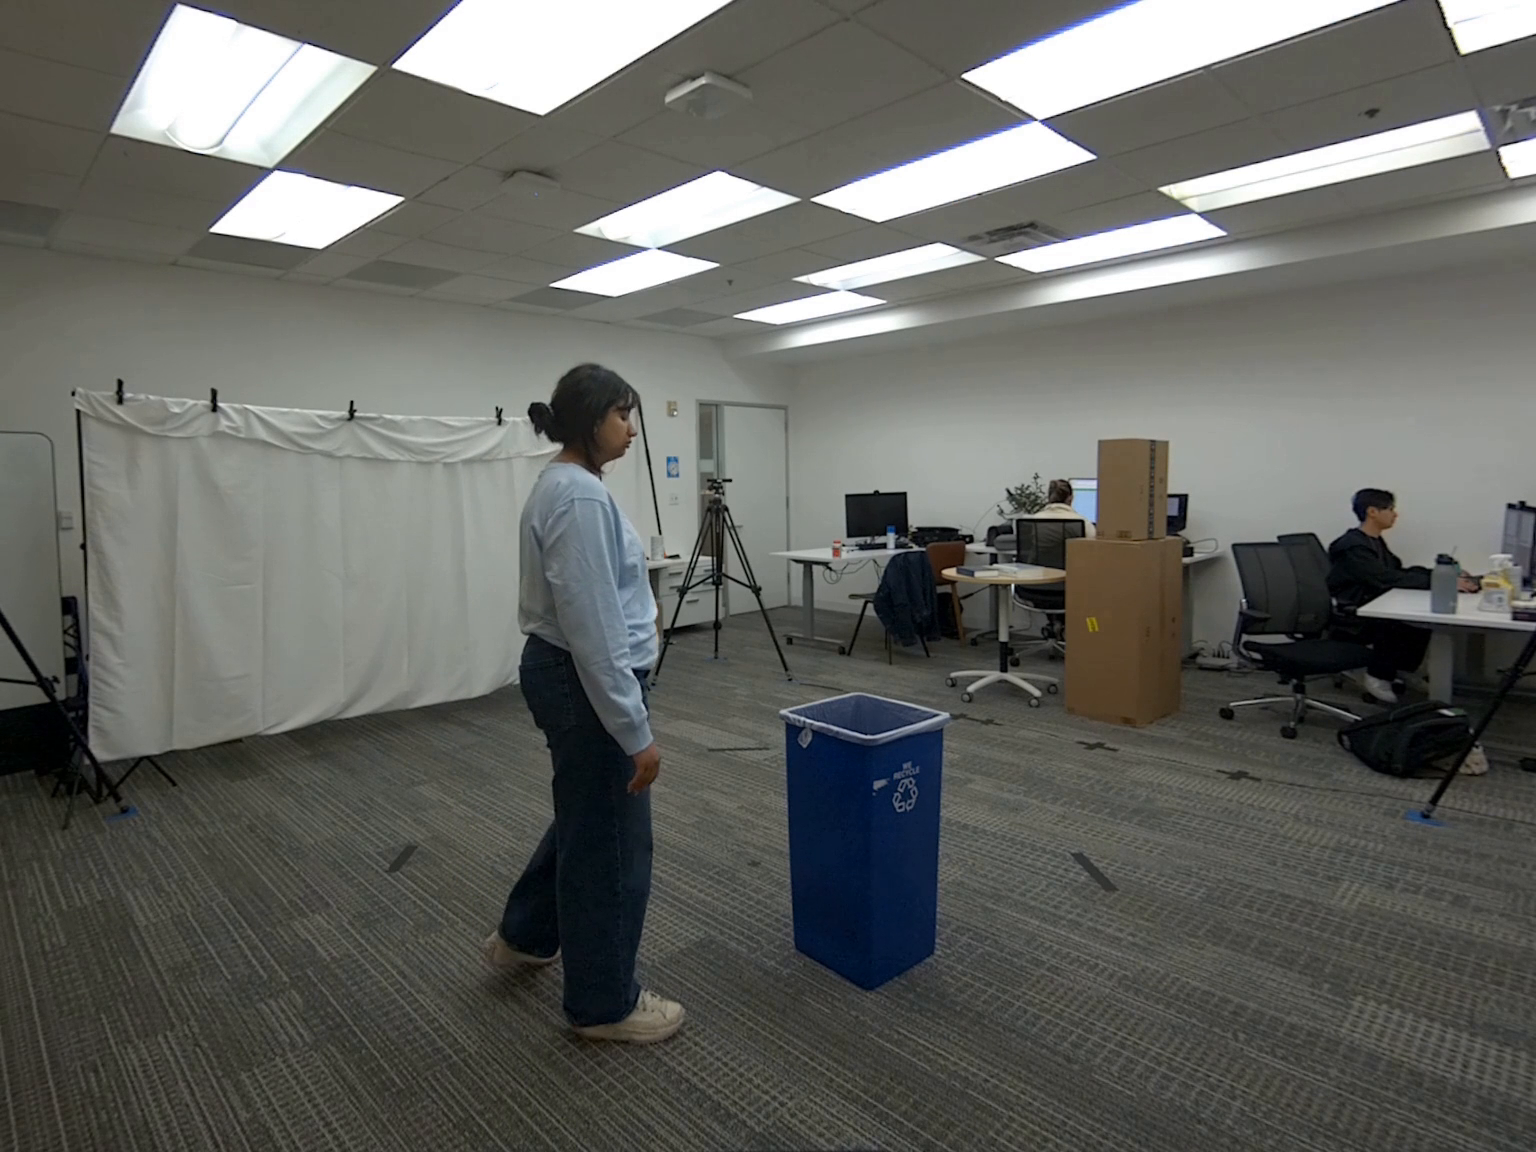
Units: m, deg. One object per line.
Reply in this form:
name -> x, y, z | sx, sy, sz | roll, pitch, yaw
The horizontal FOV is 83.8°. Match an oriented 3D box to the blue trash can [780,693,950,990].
blue trash can -> 0.289, 0.751, 2.515 | 0.364, 0.711, 0.390 | -4, 5, -41
